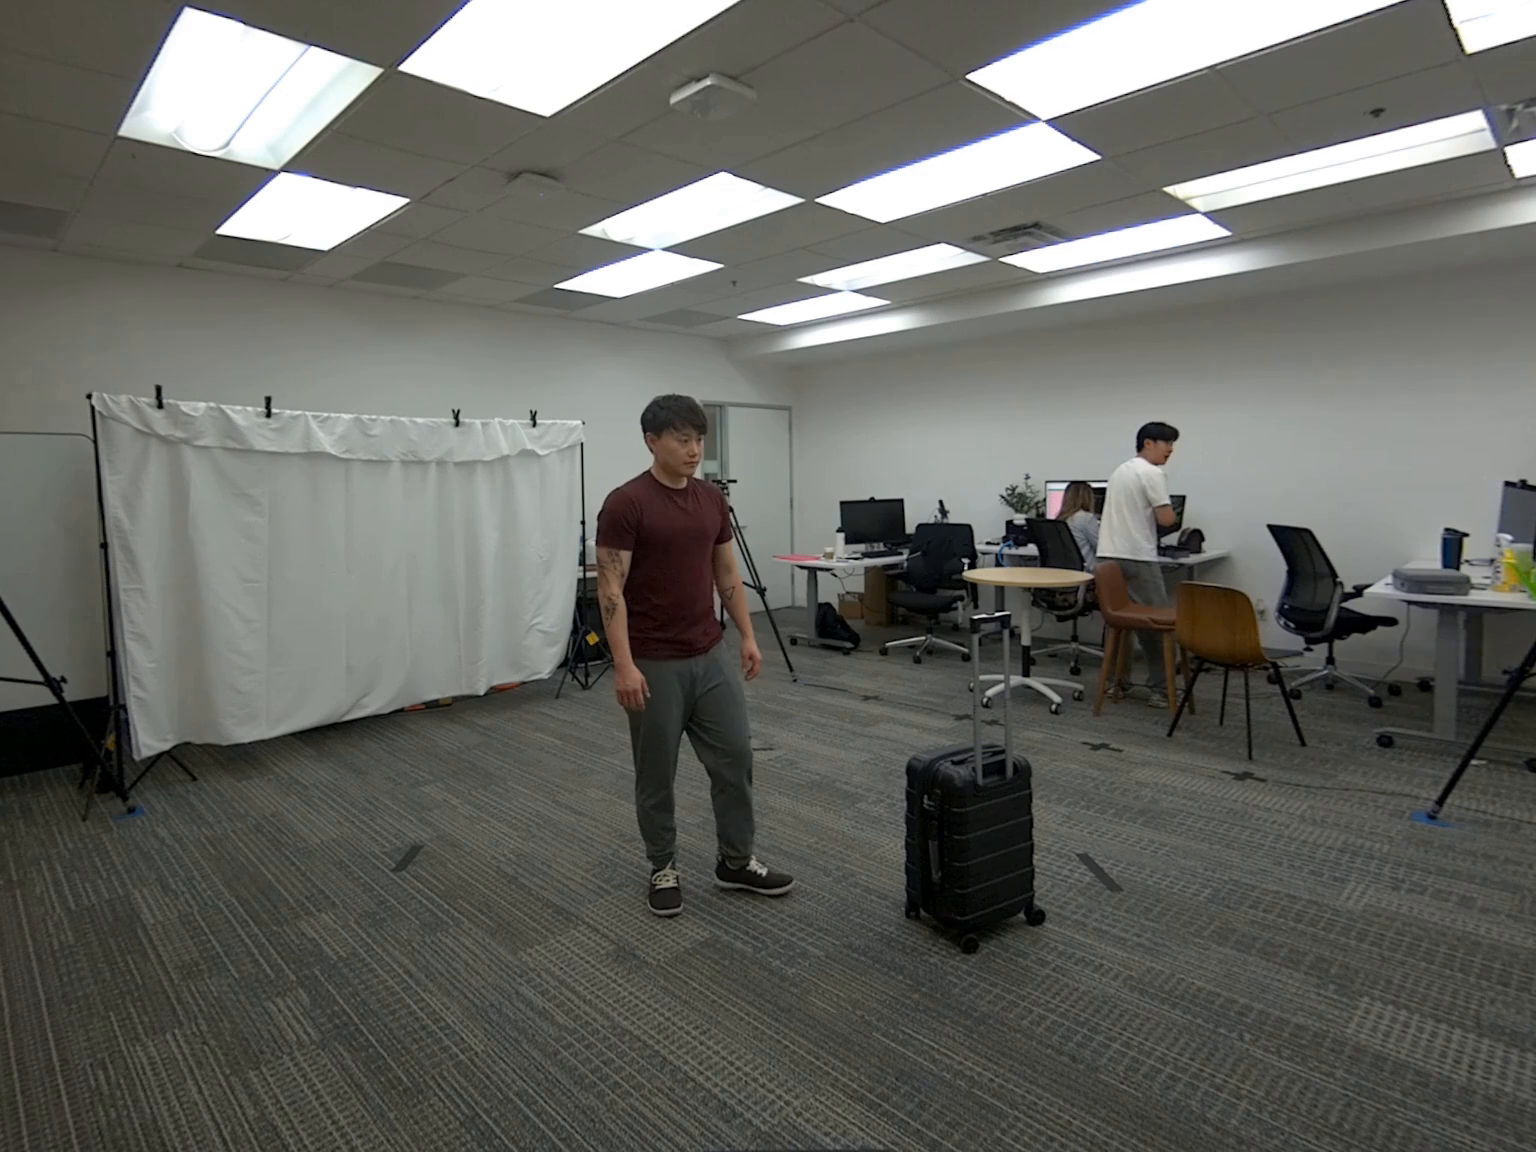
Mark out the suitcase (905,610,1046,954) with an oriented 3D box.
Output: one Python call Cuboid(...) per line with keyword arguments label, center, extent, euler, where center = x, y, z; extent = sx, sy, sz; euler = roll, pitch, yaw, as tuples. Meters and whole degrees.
Cuboid(label="suitcase", center=(0.622, 0.608, 2.655), extent=(0.375, 0.977, 0.263), euler=(-4, 2, -28))
